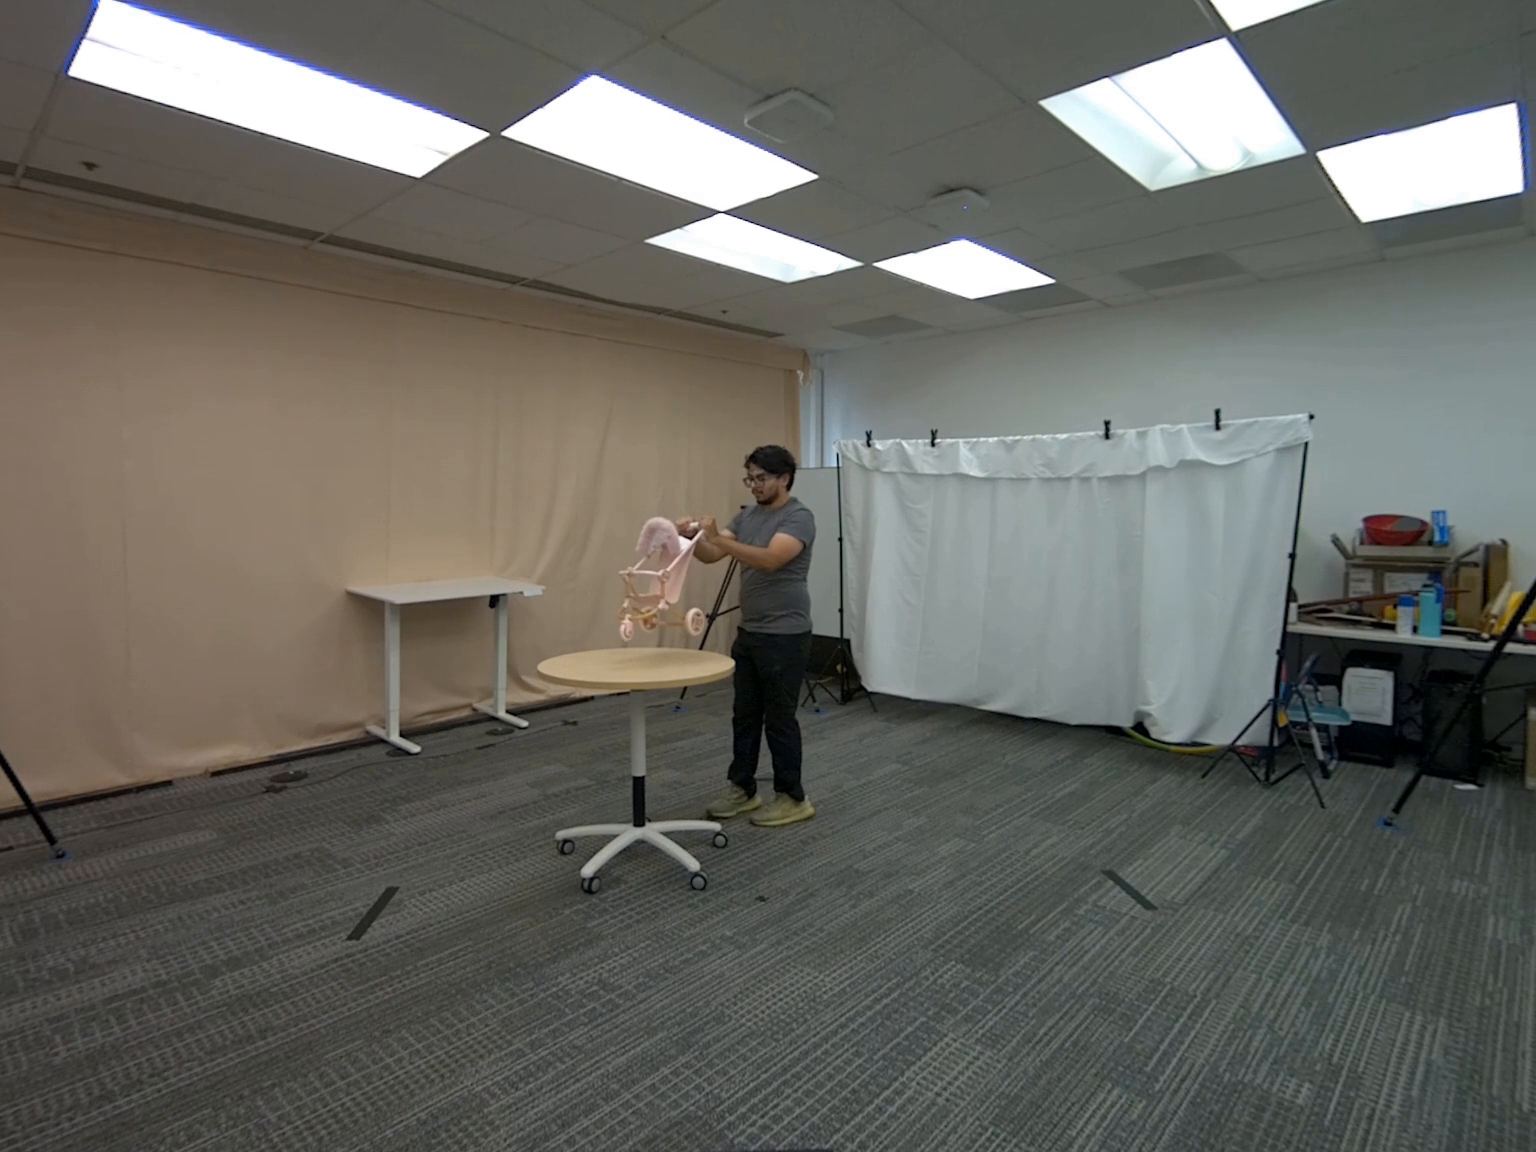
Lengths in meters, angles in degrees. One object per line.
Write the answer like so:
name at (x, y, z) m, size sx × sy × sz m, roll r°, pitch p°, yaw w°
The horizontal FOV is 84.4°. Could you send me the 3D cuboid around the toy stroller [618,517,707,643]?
toy stroller at (-0.435, 0.010, 3.341) m, size 0.290 × 0.537 × 0.329 m, roll -1°, pitch -12°, yaw 42°
